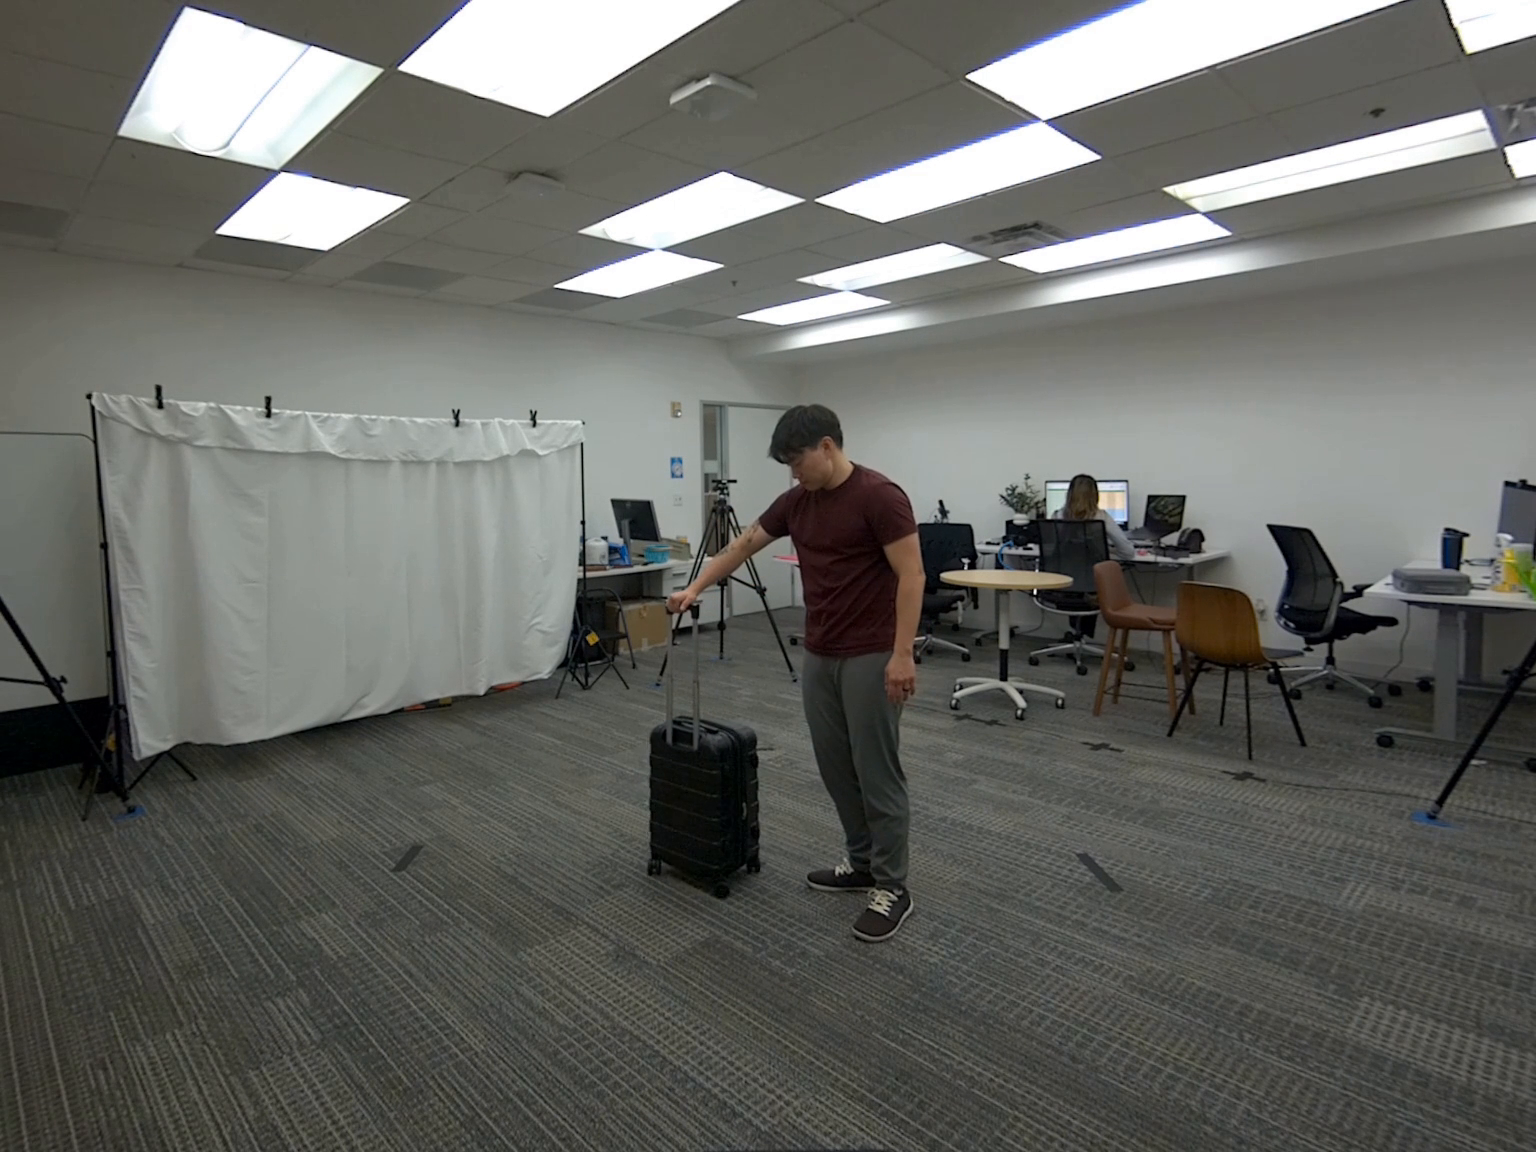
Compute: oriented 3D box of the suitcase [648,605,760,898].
[{"bbox_3d":[-0.228,0.583,3.035,0.395,0.977,0.250,1,2,38],"label":"suitcase"}]
